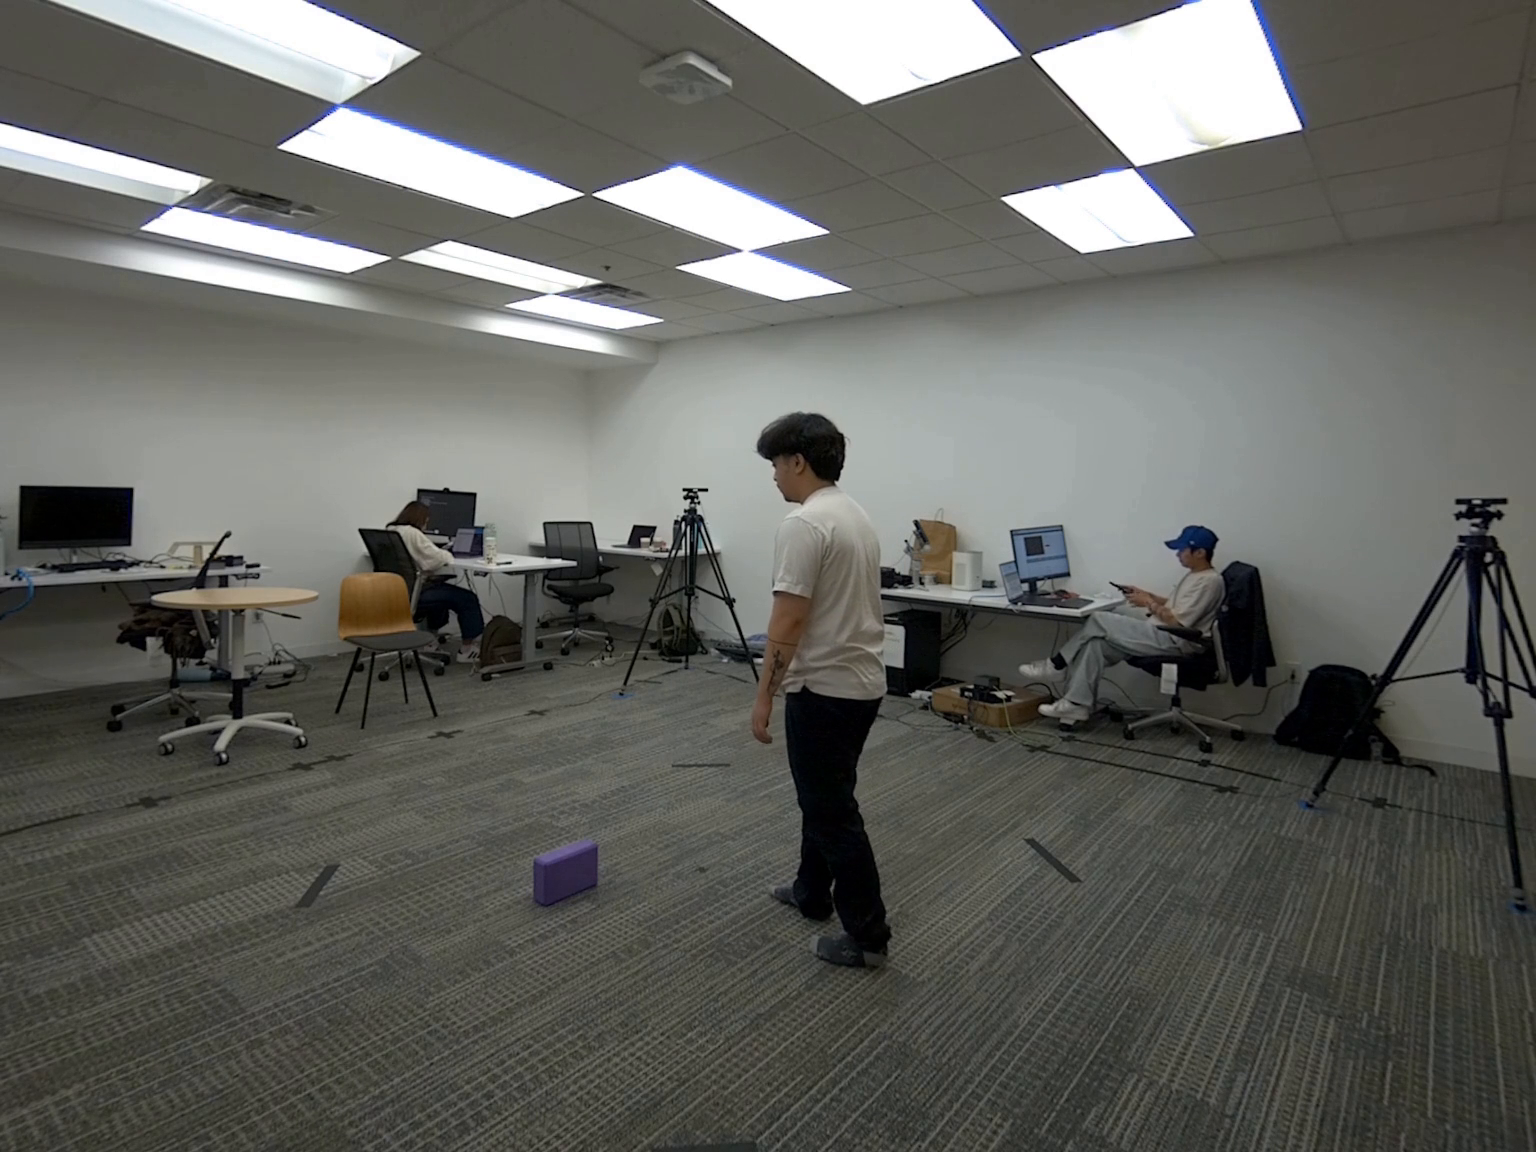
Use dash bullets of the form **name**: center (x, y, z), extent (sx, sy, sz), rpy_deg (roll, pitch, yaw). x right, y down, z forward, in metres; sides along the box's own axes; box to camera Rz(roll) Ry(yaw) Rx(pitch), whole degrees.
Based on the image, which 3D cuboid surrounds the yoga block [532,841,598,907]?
- **yoga block**: center (-0.700, 1.006, 2.905), extent (0.079, 0.148, 0.222), rpy_deg (4, 6, 42)
